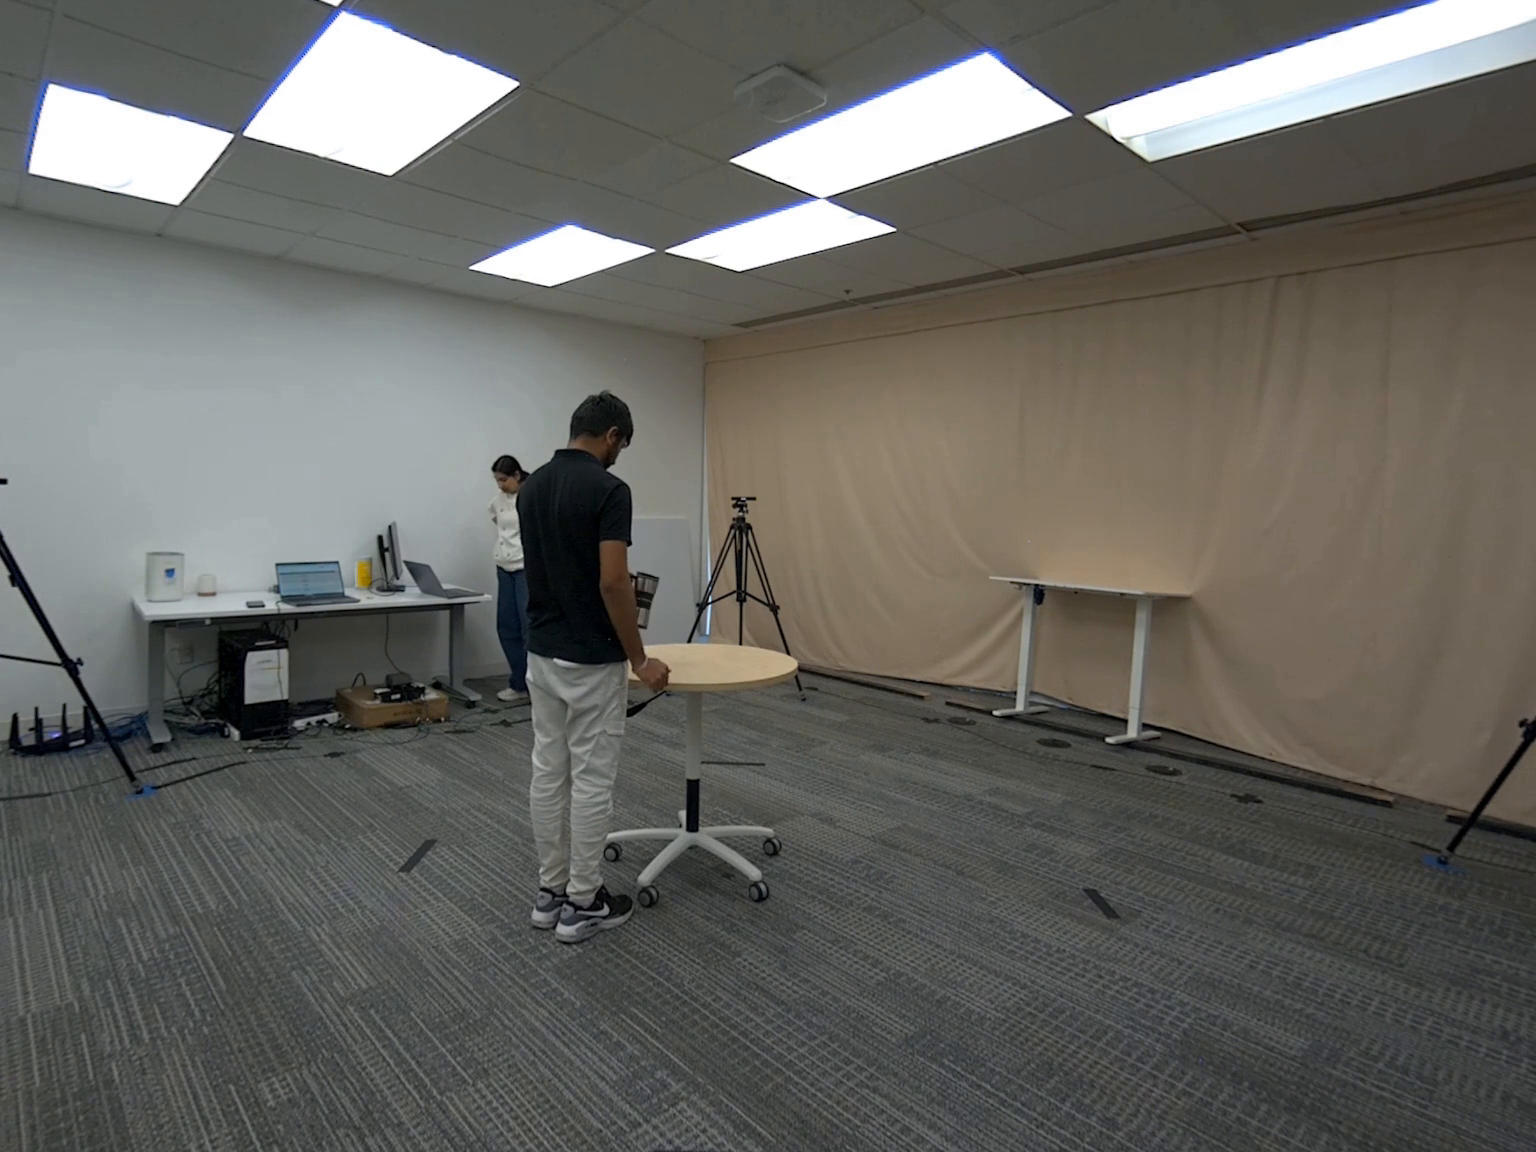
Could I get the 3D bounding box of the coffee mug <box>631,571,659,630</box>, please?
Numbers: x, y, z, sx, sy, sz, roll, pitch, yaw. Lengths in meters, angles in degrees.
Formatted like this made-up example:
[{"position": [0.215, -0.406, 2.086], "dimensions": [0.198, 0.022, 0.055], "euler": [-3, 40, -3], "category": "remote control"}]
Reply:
[{"position": [-0.518, 0.093, 3.070], "dimensions": [0.119, 0.203, 0.090], "euler": [11, -2, -32], "category": "coffee mug"}]
